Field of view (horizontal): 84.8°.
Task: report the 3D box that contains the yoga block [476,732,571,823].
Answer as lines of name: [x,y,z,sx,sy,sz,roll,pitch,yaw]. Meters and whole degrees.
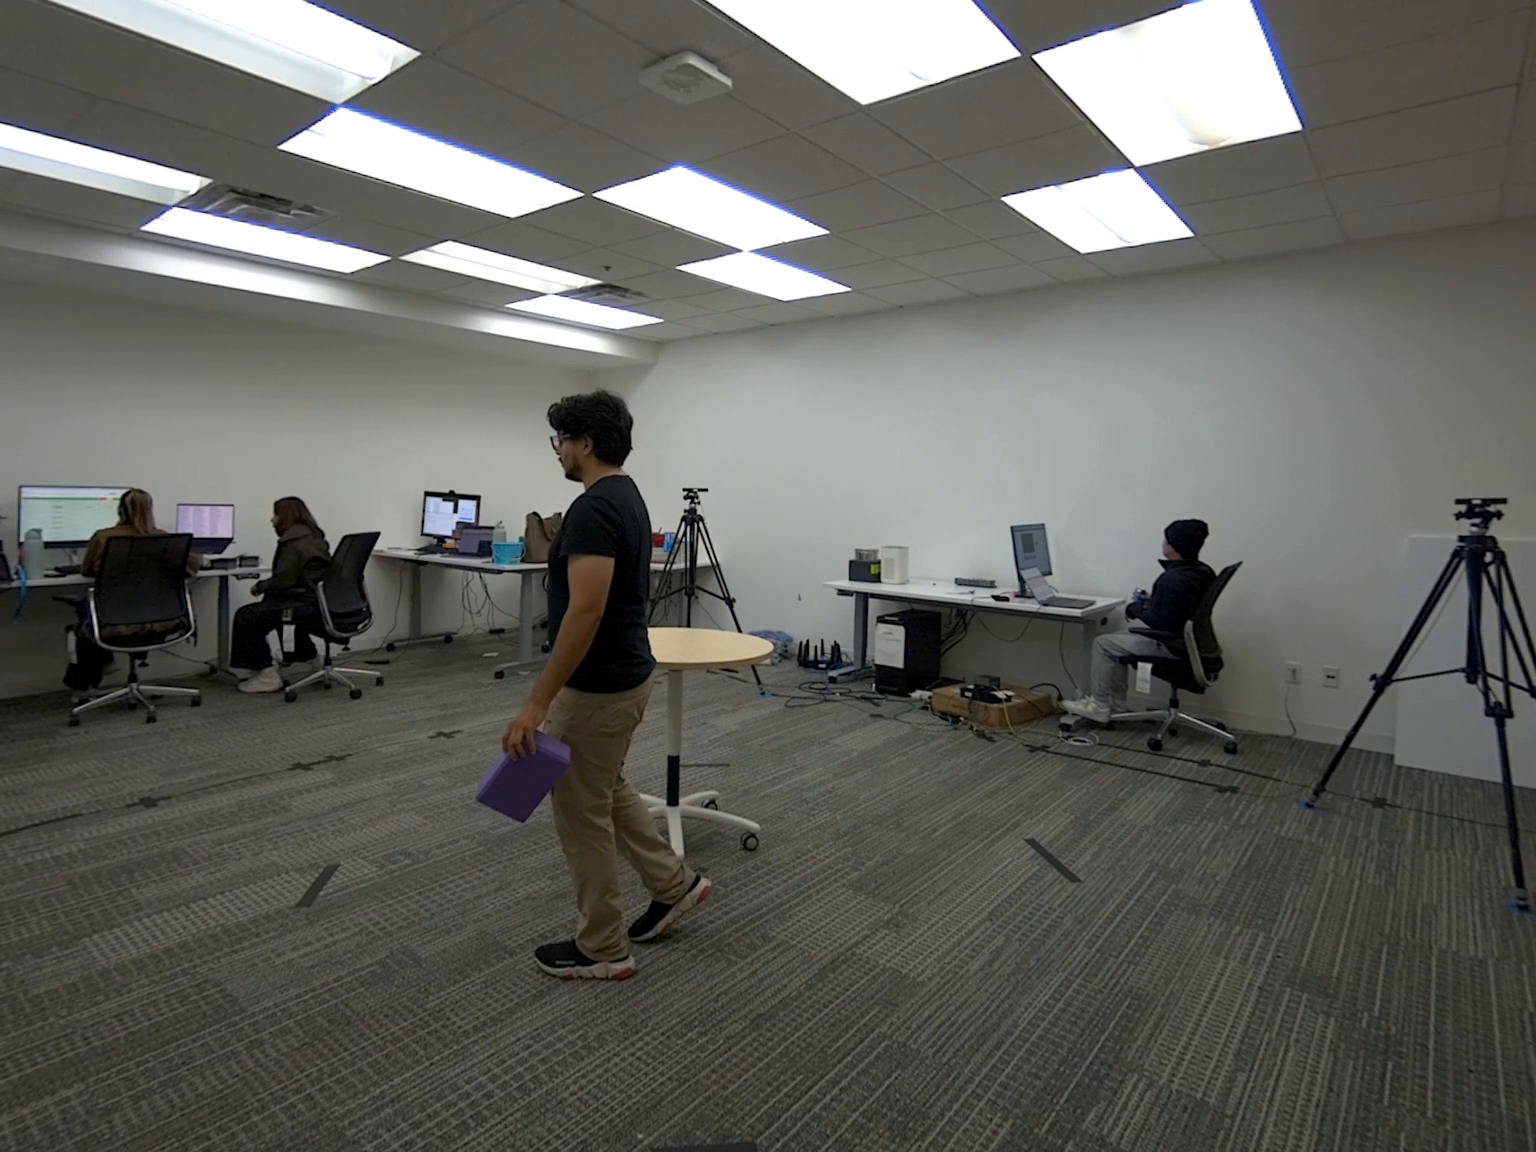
yoga block: [-0.649,0.511,2.198,0.145,0.229,0.079,32,14,-21]
